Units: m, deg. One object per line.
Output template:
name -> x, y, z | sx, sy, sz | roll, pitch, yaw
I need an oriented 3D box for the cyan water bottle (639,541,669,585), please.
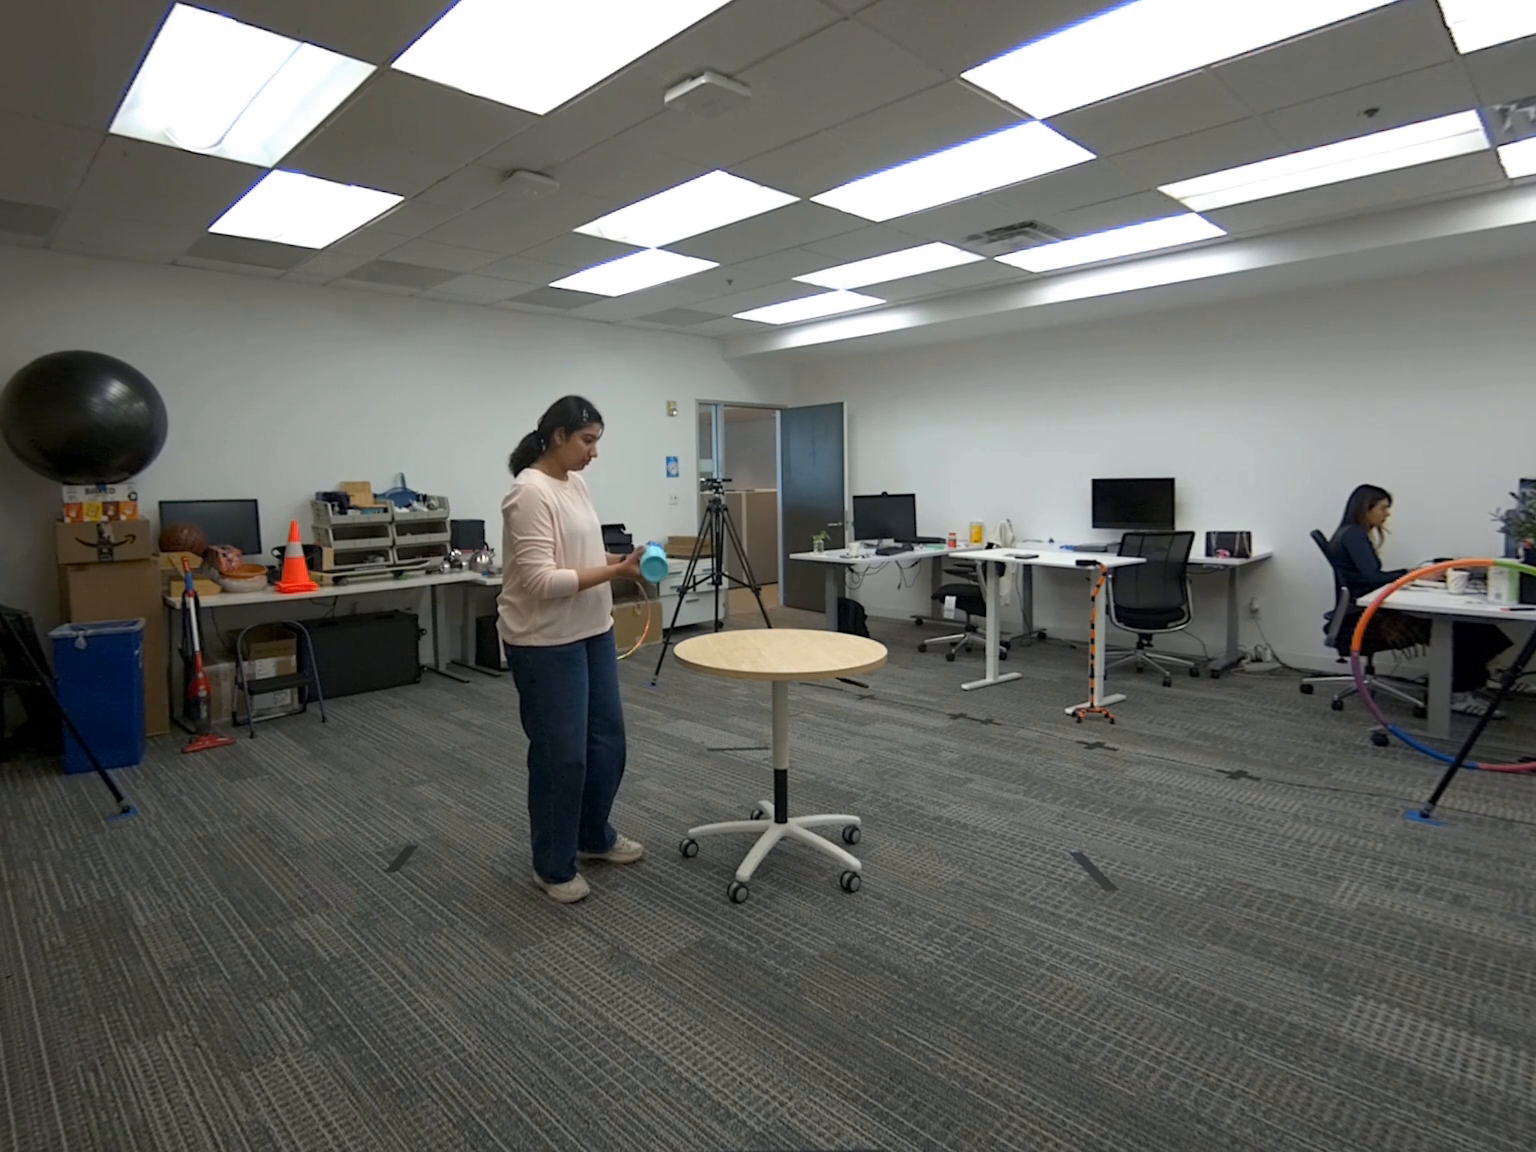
cyan water bottle -> -0.374, -0.051, 2.793 | 0.092, 0.091, 0.288 | -2, 12, -7
